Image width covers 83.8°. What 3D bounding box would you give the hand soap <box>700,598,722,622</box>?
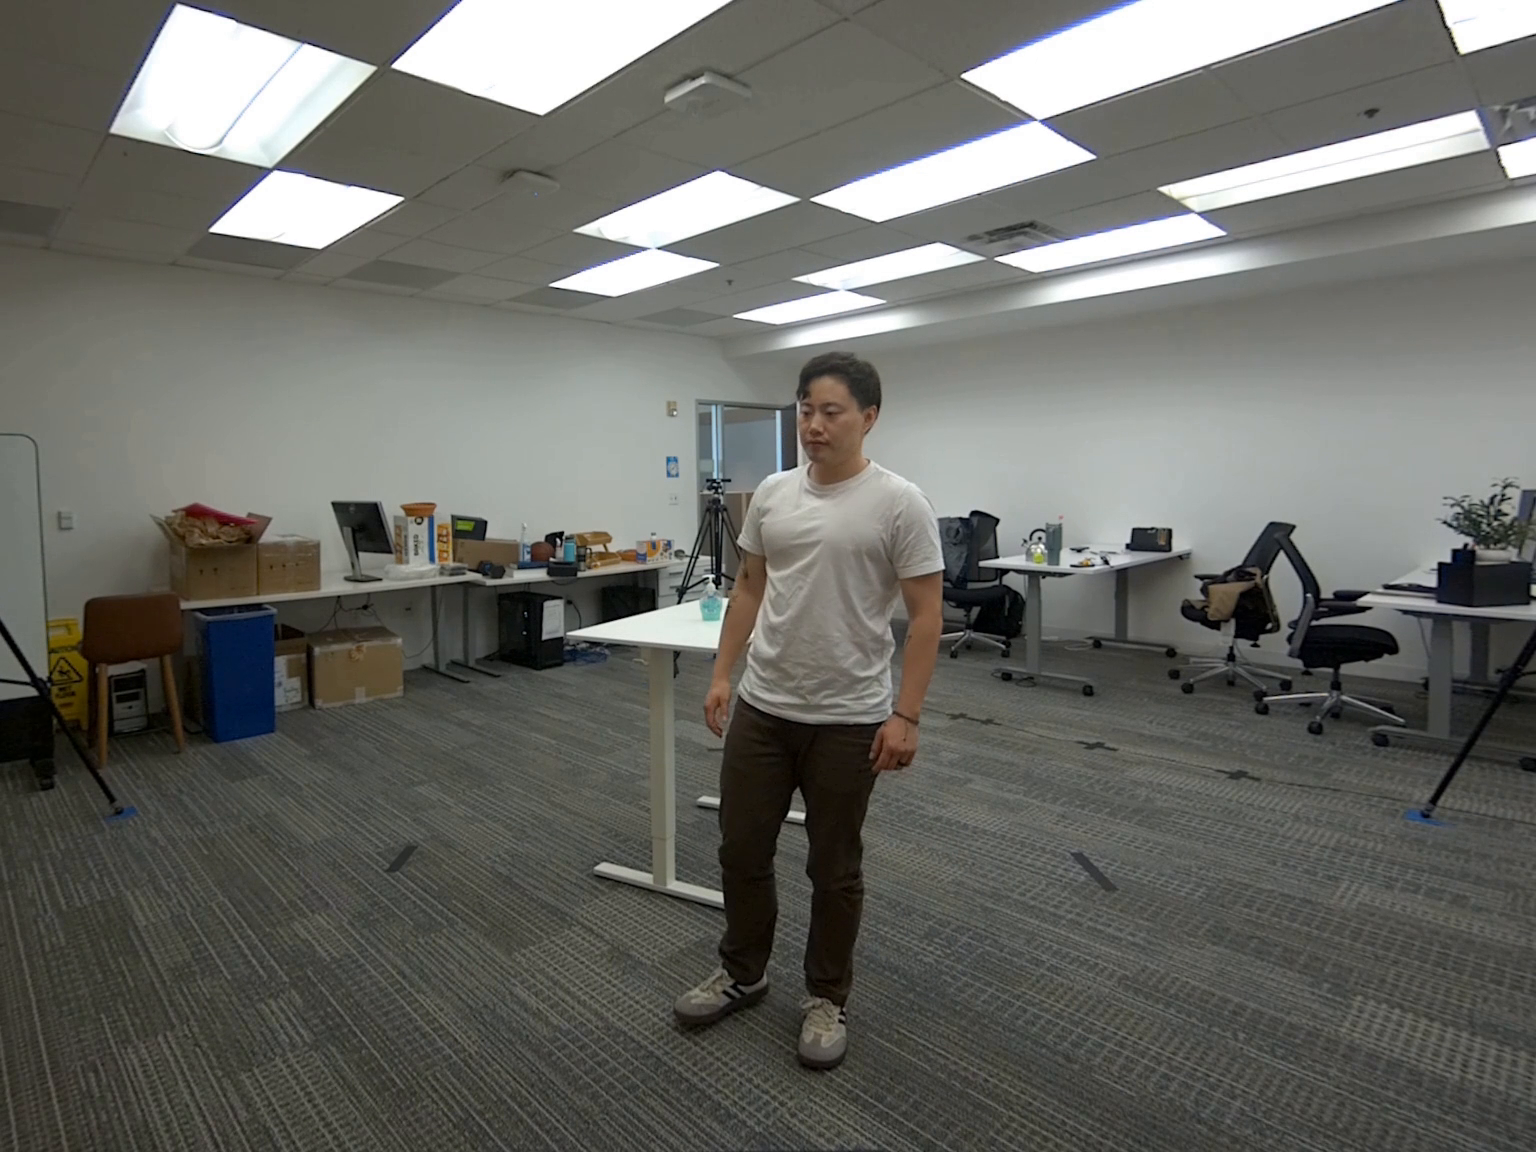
[{"bbox_3d":[-0.213,0.081,3.139,0.084,0.168,0.043,-3,2,-5],"label":"hand soap"}]
